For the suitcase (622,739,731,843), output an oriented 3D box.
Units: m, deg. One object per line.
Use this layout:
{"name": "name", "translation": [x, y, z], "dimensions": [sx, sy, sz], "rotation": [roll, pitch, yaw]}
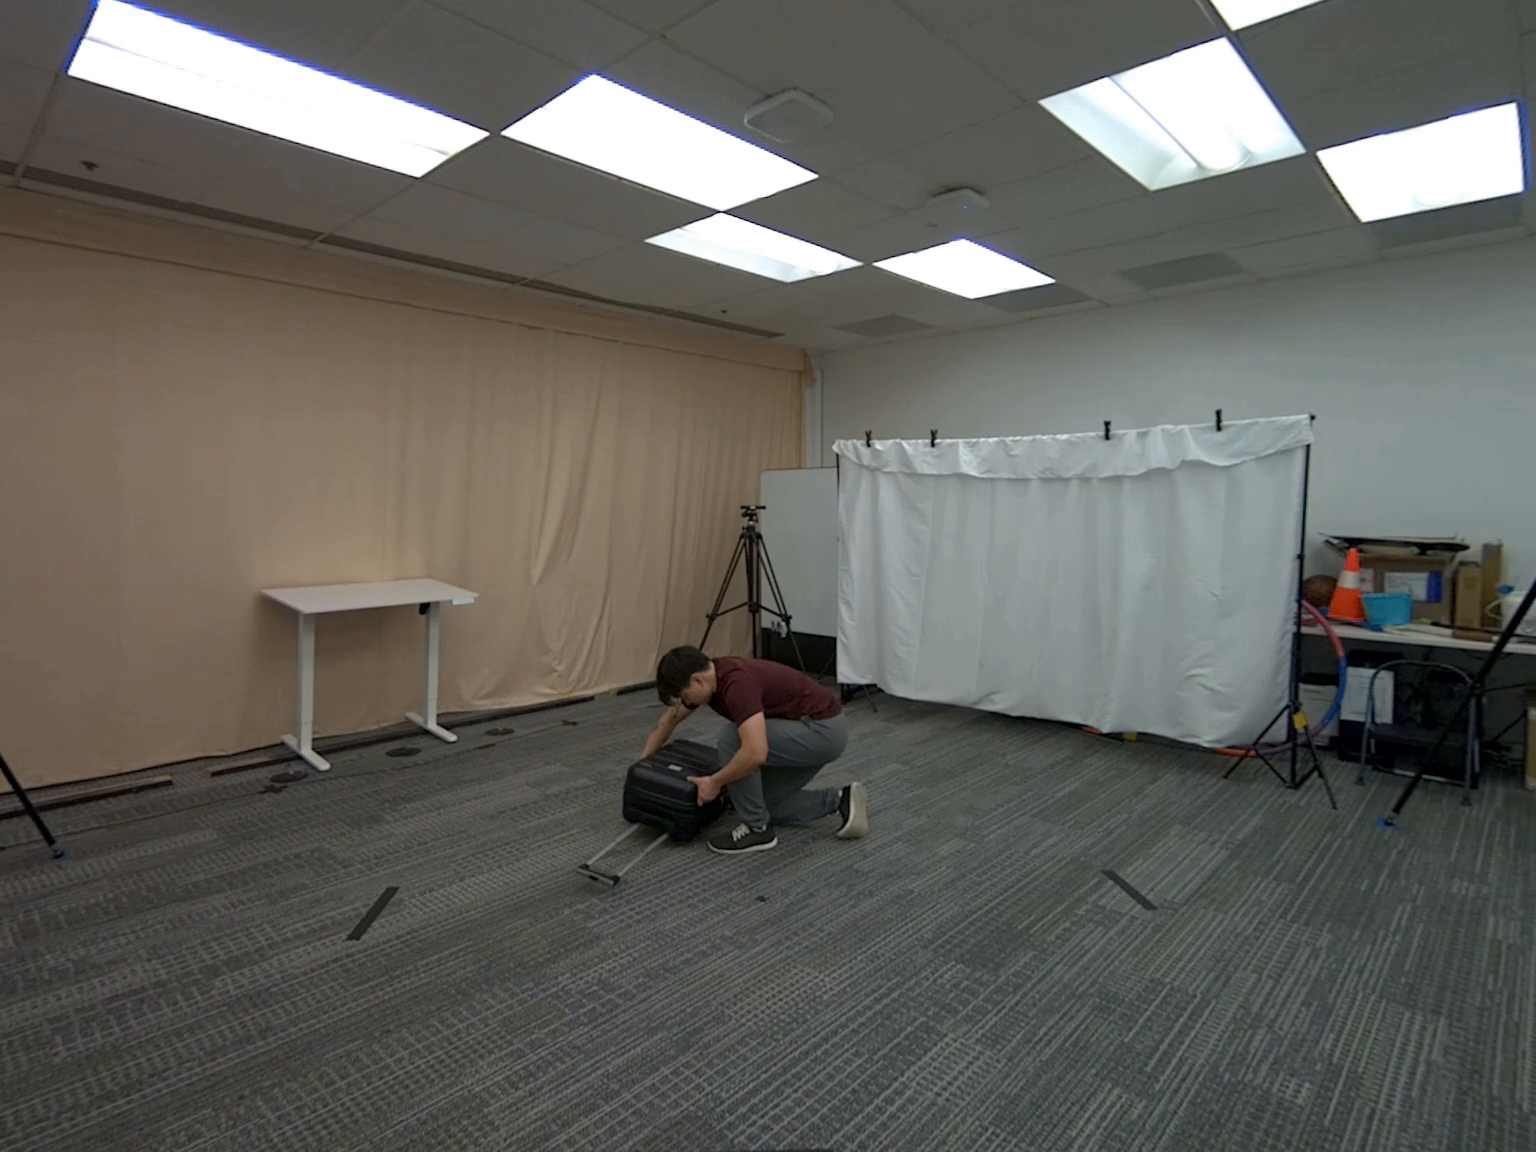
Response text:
{"name": "suitcase", "translation": [-0.430, 0.936, 3.480], "dimensions": [0.392, 0.256, 0.960], "rotation": [12, 8, 18]}
